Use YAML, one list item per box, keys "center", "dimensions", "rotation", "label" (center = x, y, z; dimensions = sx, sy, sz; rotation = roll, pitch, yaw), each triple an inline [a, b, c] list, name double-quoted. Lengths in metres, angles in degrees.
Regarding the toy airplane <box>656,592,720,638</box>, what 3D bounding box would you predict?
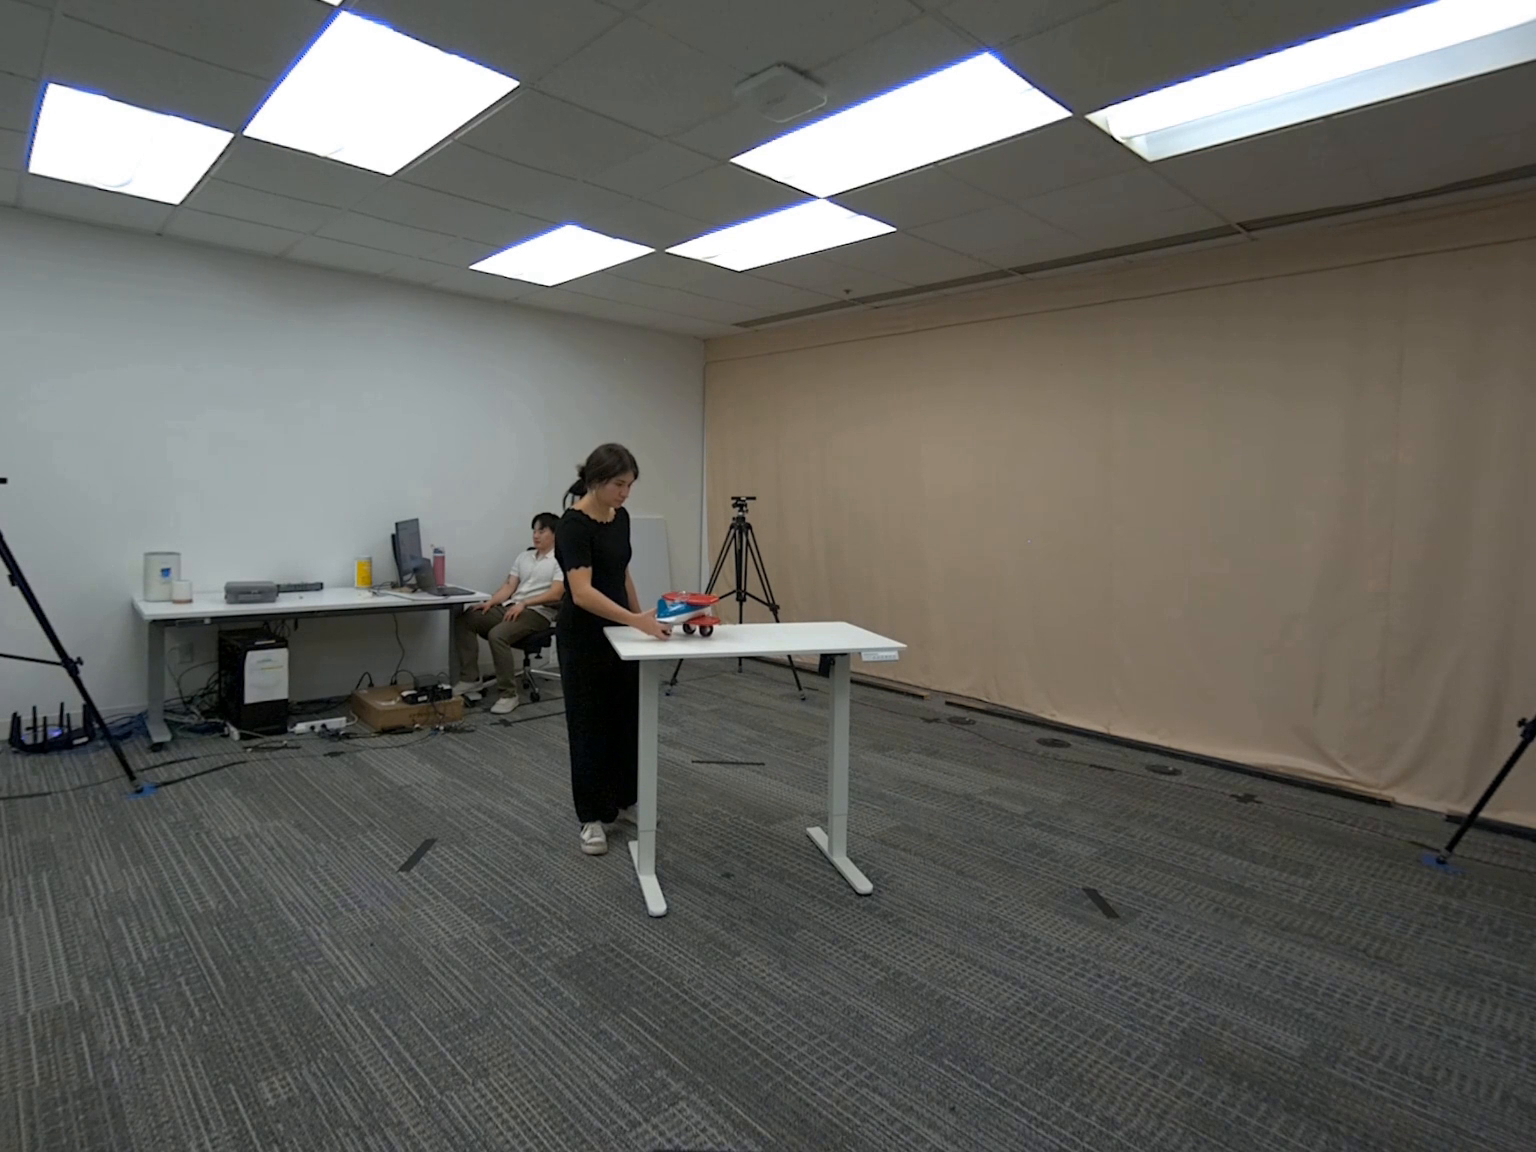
- center: [-0.302, 0.141, 3.049]
  dimensions: [0.253, 0.157, 0.256]
  rotation: [5, -2, 11]
  label: "toy airplane"
